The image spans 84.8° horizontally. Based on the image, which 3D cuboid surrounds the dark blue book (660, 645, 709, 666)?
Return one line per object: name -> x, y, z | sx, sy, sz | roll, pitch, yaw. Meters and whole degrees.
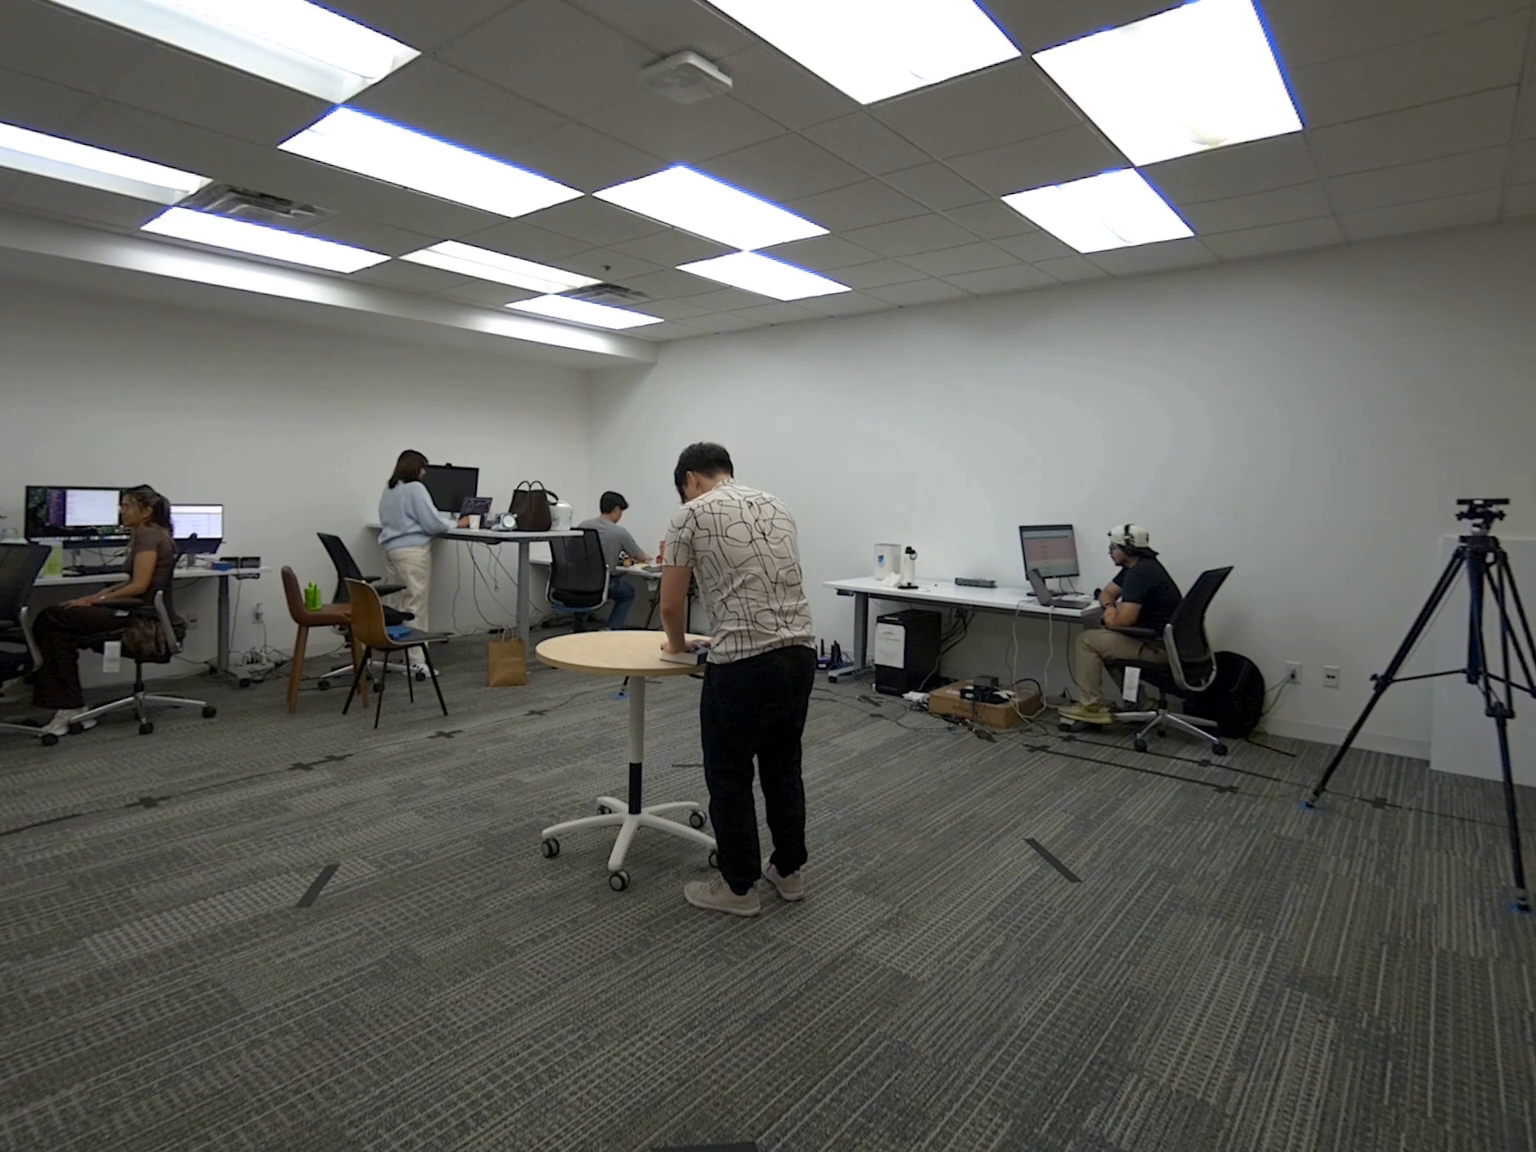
dark blue book -> -0.268, 0.277, 3.083 | 0.168, 0.045, 0.239 | 5, 7, 27
